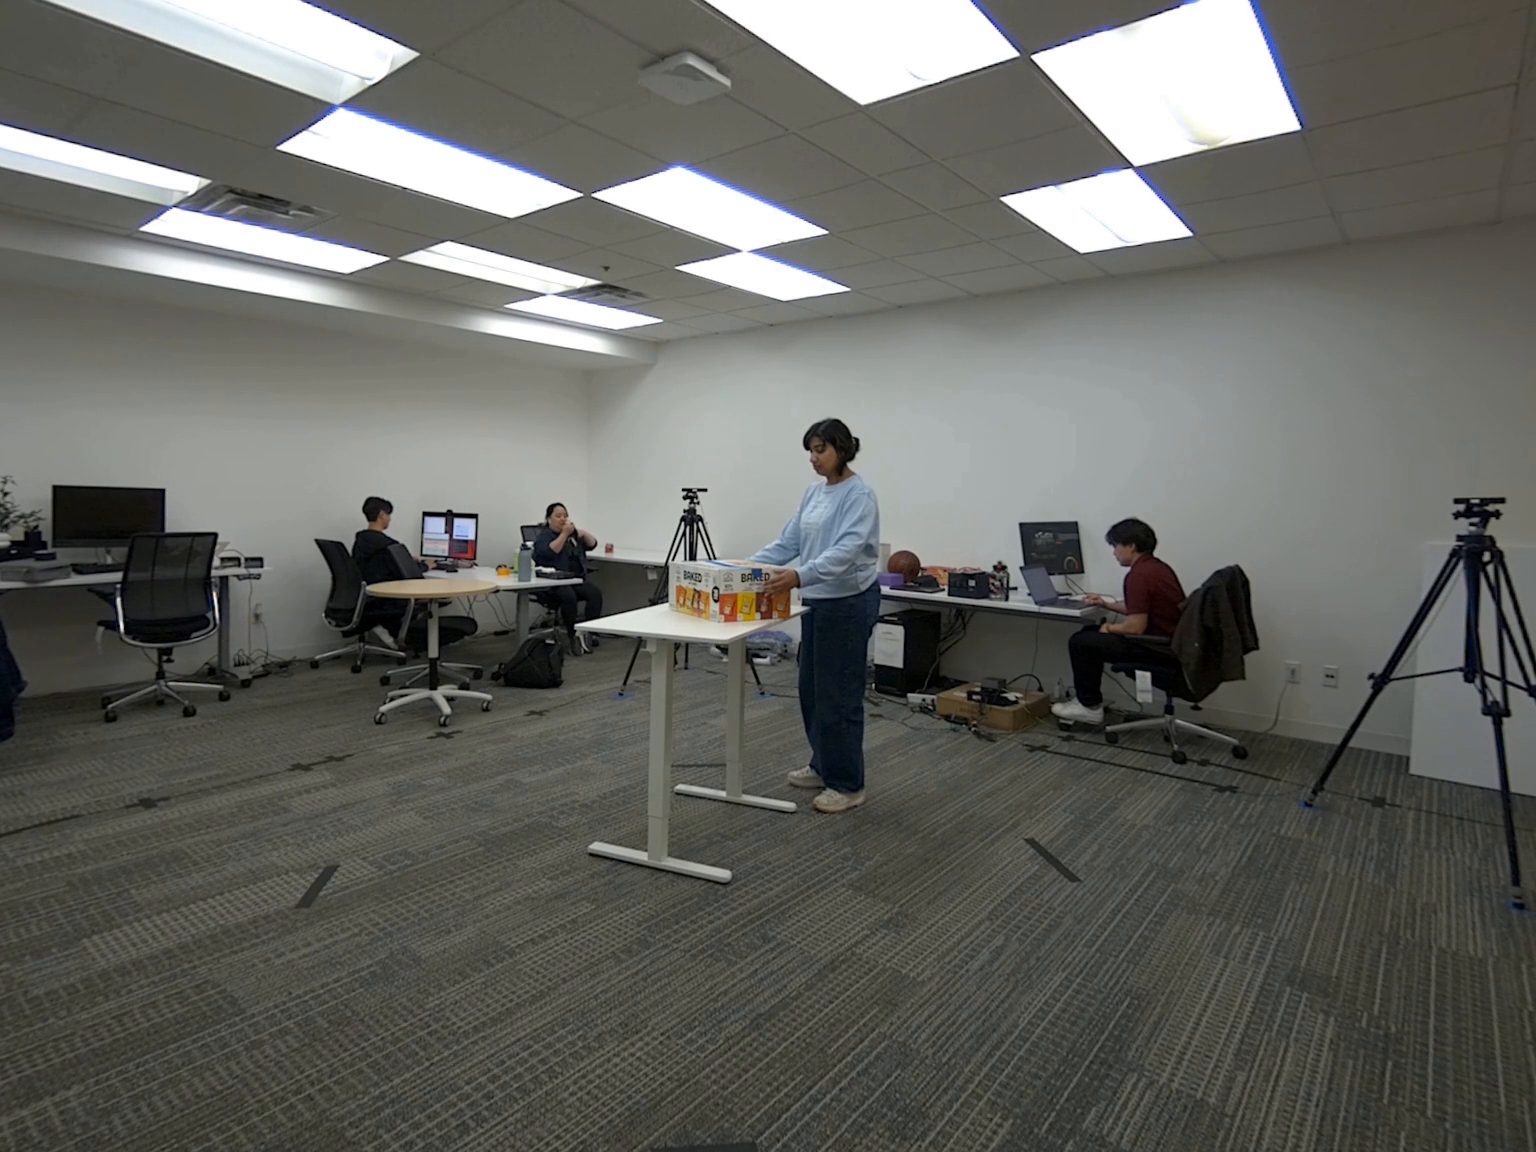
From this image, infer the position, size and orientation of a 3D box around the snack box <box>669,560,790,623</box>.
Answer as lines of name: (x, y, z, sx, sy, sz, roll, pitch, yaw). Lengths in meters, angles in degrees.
snack box: (-0.173, 0.051, 3.490, 0.331, 0.205, 0.418, -1, 5, -33)
